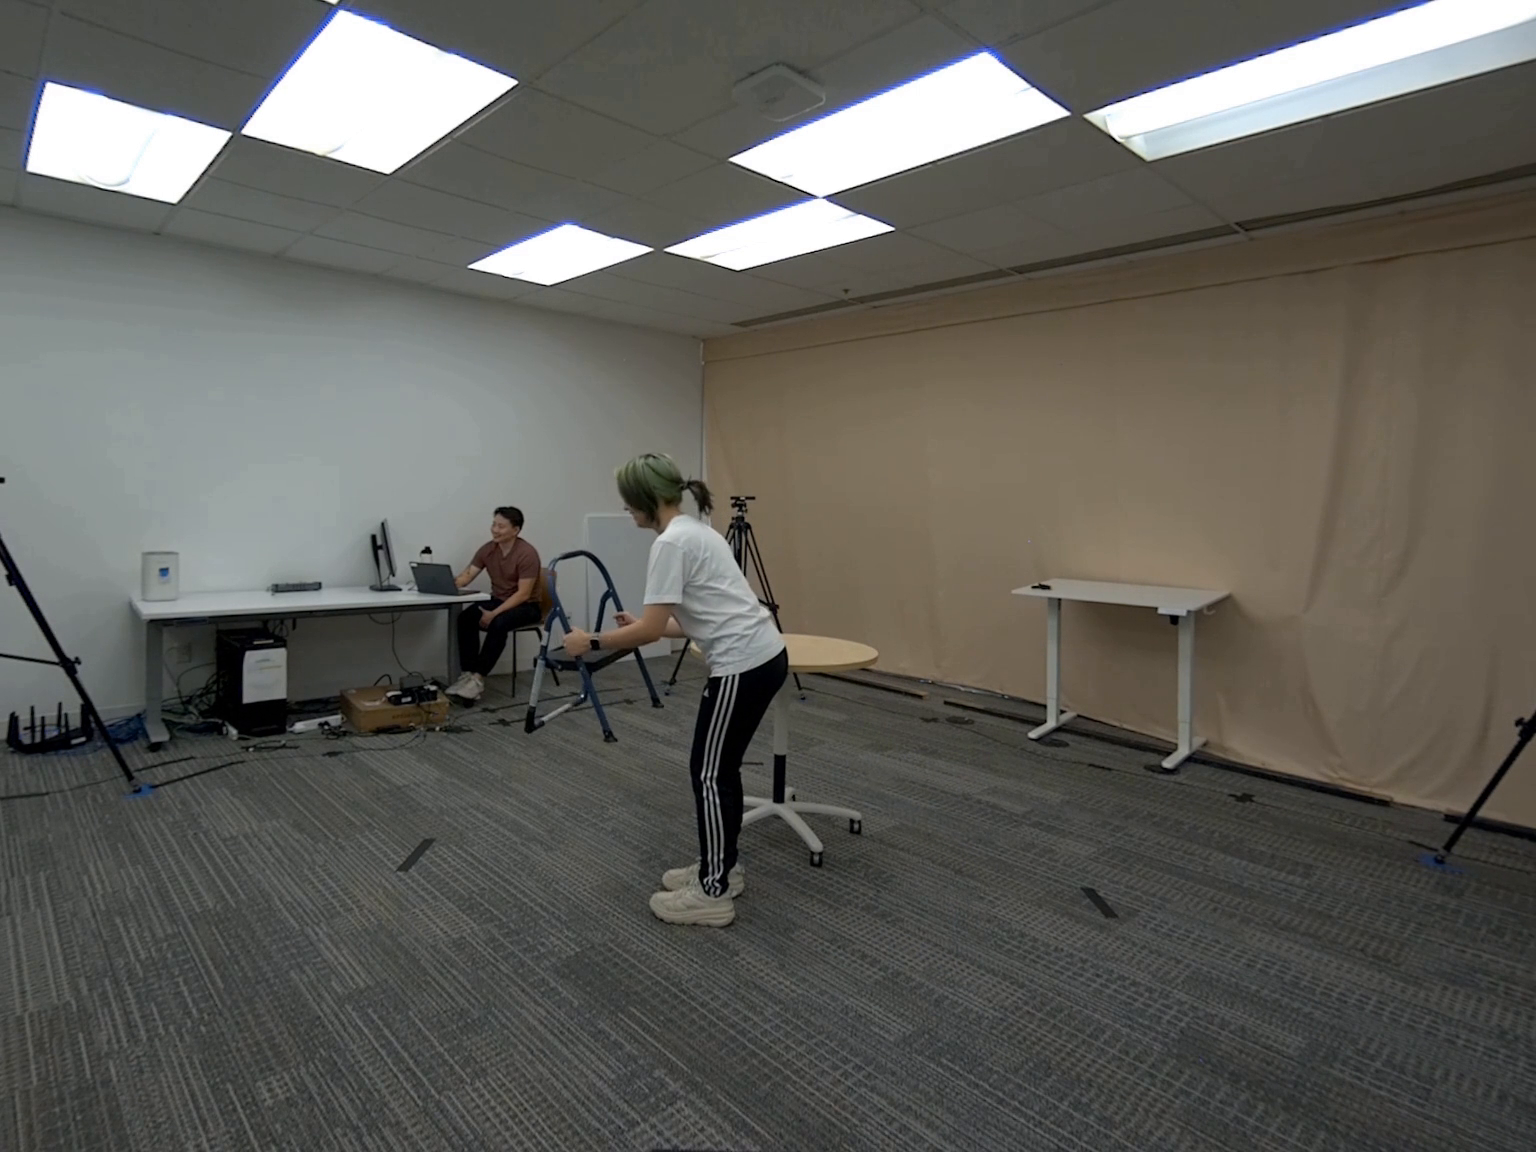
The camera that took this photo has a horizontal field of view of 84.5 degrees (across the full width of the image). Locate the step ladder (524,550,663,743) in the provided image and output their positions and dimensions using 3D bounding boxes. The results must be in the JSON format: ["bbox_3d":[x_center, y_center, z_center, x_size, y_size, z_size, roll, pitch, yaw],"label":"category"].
[{"bbox_3d":[-0.626,0.224,3.001,0.354,0.603,0.427,1,7,17],"label":"step ladder"}]
